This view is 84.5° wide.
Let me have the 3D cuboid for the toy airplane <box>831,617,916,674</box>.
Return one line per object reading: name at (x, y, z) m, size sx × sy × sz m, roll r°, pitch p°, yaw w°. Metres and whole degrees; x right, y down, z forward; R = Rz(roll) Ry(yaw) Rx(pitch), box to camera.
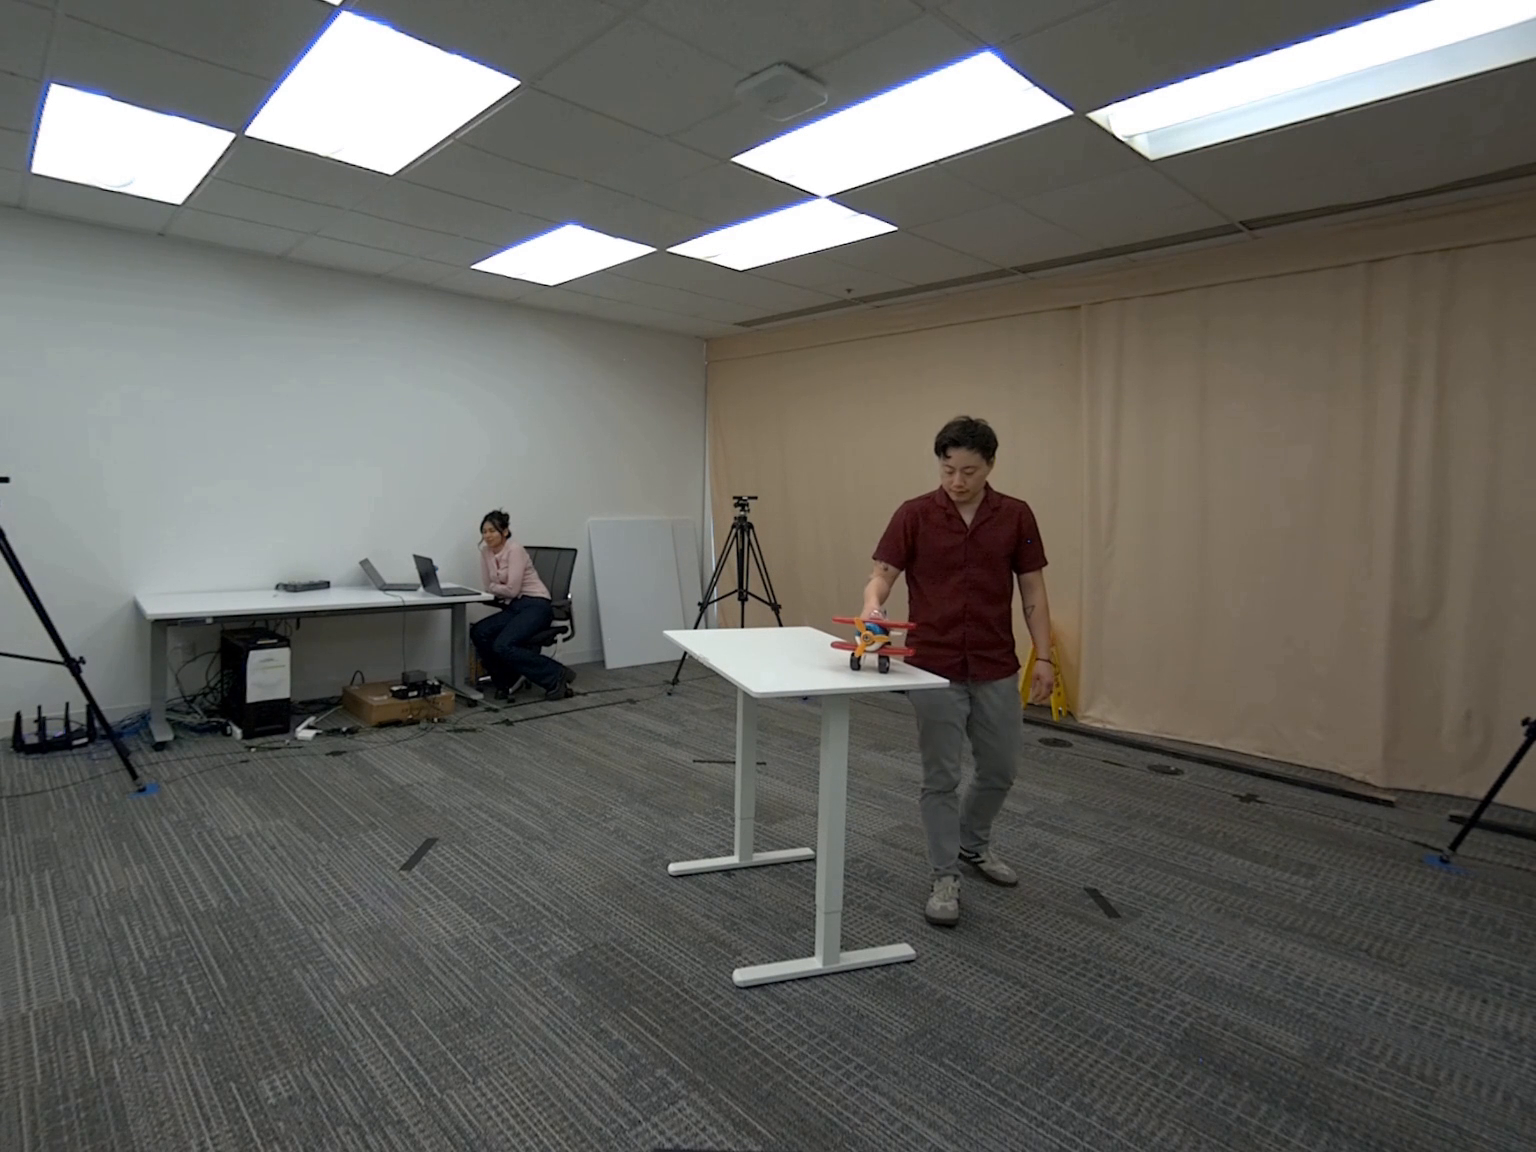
toy airplane at (0.305, 0.193, 2.590) m, size 0.249 × 0.155 × 0.264 m, roll -3°, pitch 15°, yaw -10°
